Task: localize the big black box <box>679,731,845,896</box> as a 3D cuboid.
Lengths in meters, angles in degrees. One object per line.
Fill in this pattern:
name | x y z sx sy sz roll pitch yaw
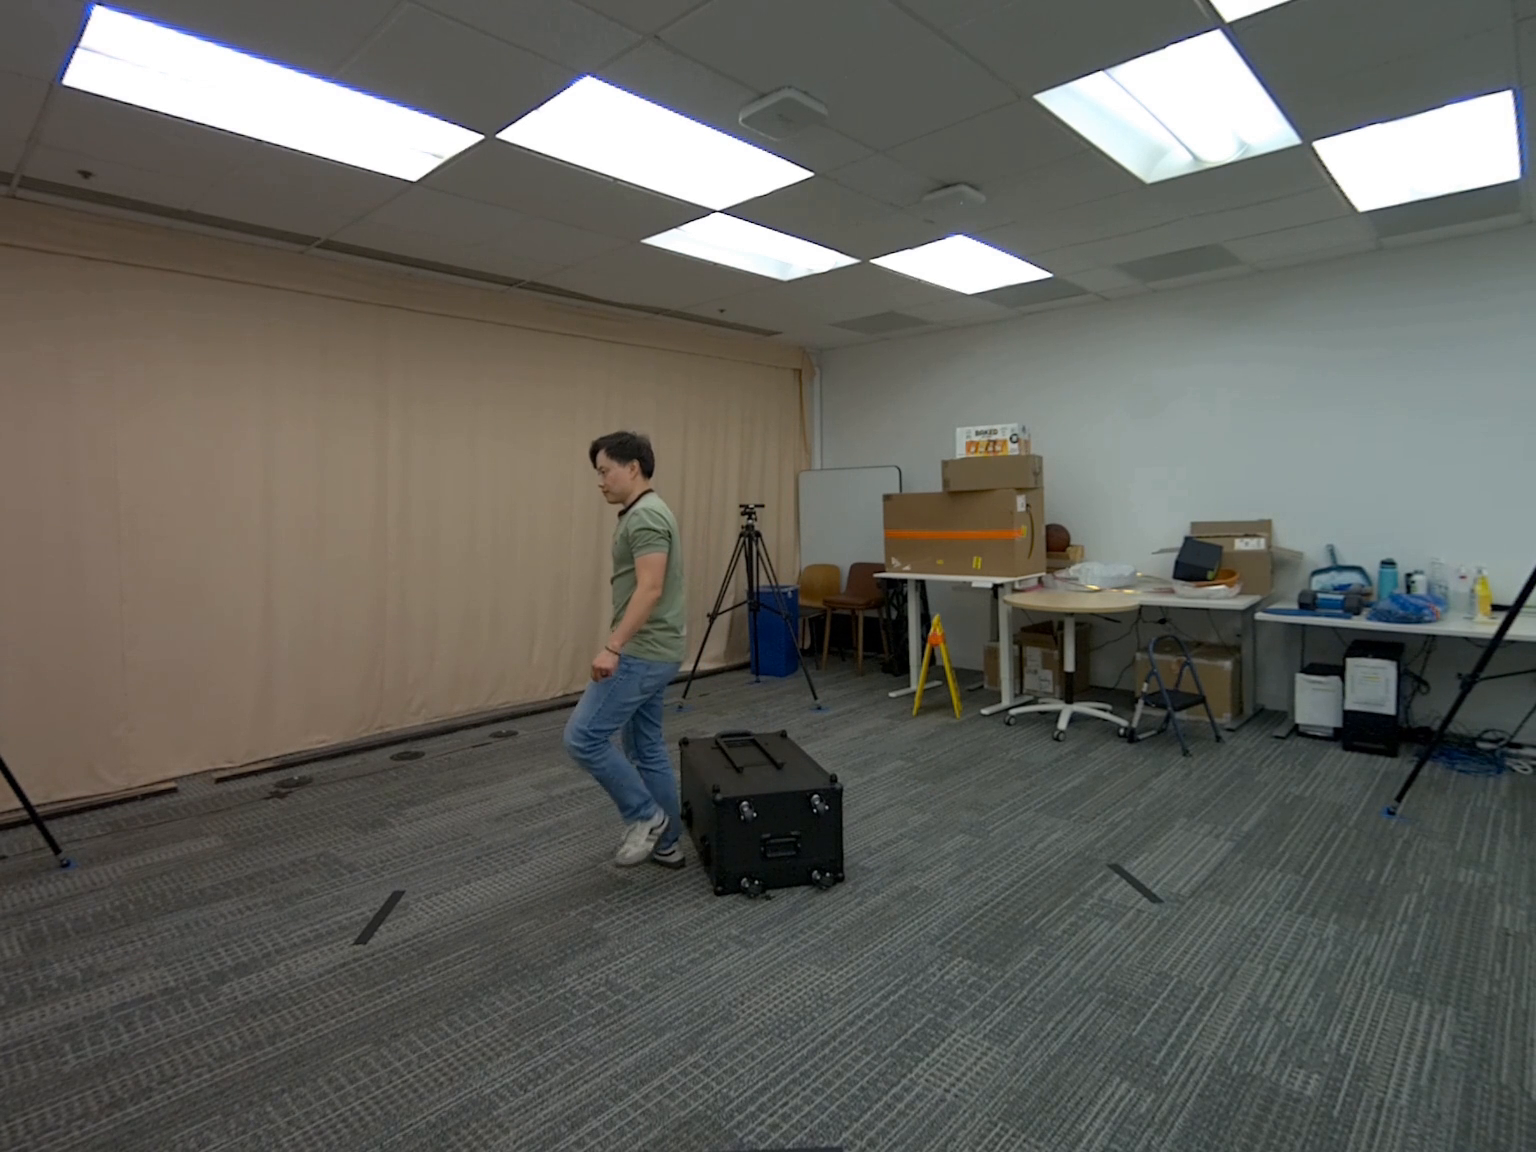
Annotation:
big black box | -0.043 0.916 3.383 0.514 0.395 0.877 -2 6 -15
